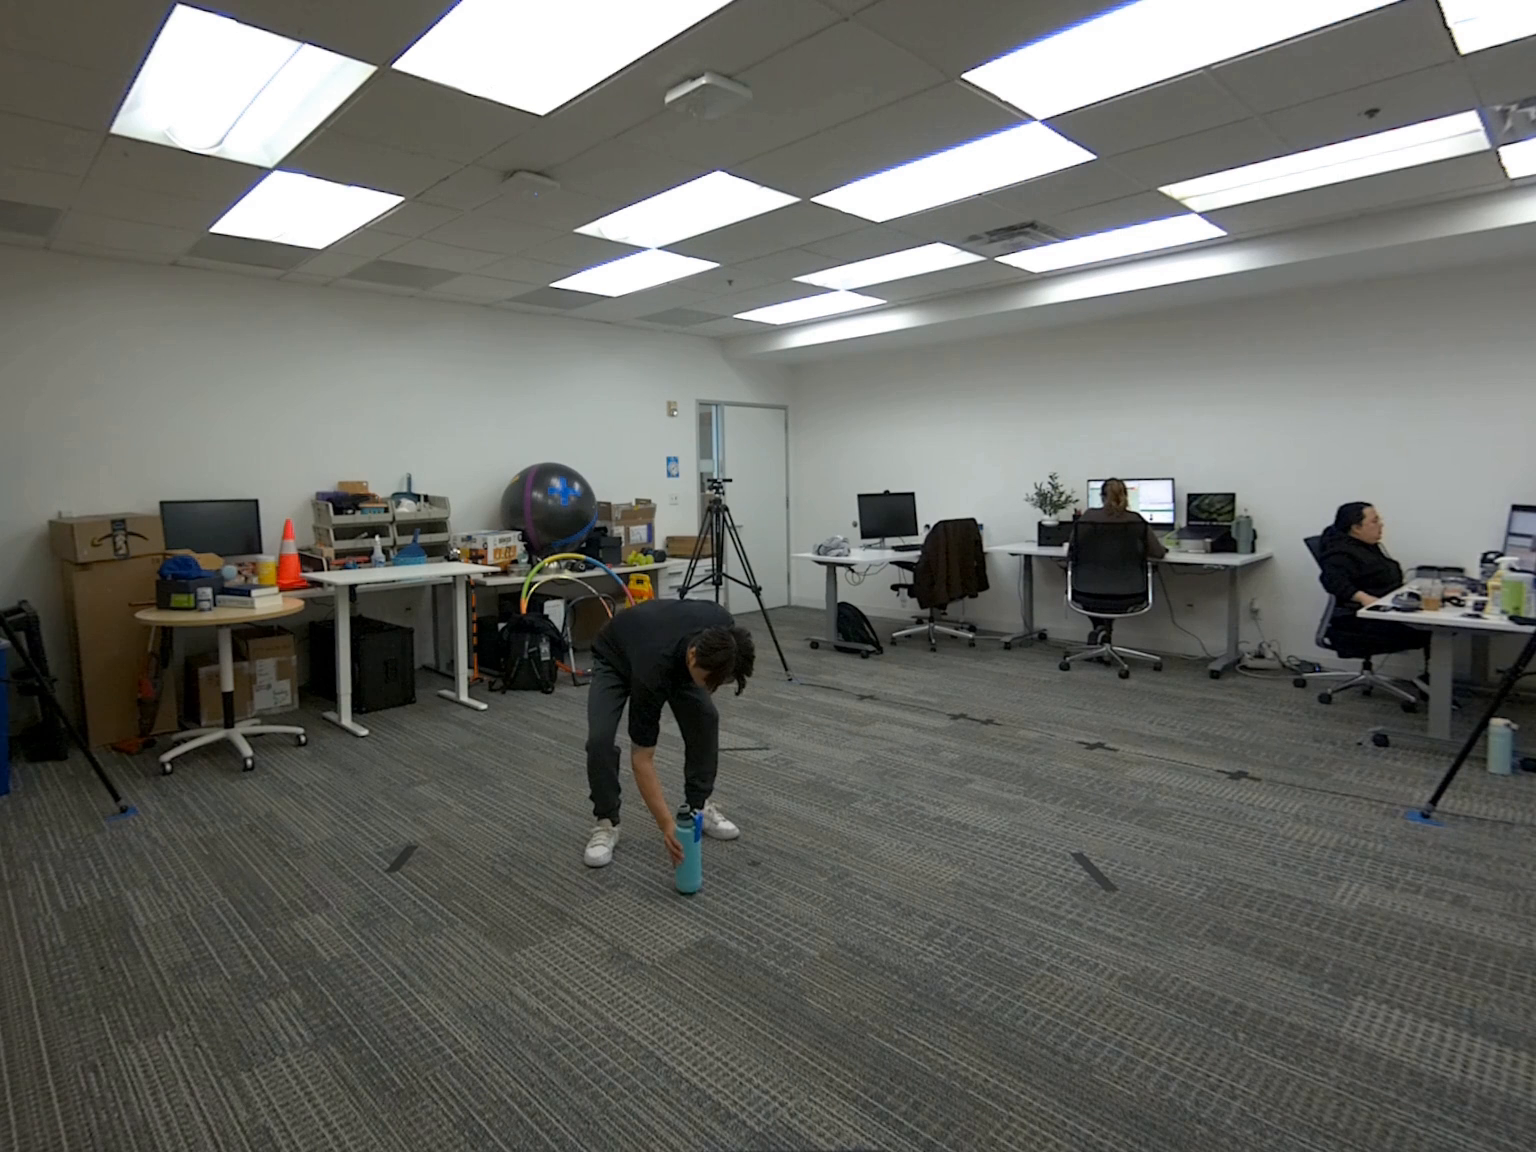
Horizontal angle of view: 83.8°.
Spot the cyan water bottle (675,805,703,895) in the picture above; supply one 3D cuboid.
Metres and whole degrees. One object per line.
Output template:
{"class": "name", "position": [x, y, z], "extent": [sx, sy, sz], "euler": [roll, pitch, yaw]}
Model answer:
{"class": "cyan water bottle", "position": [-0.272, 0.912, 2.889], "extent": [0.092, 0.281, 0.093], "euler": [0, 8, -2]}
